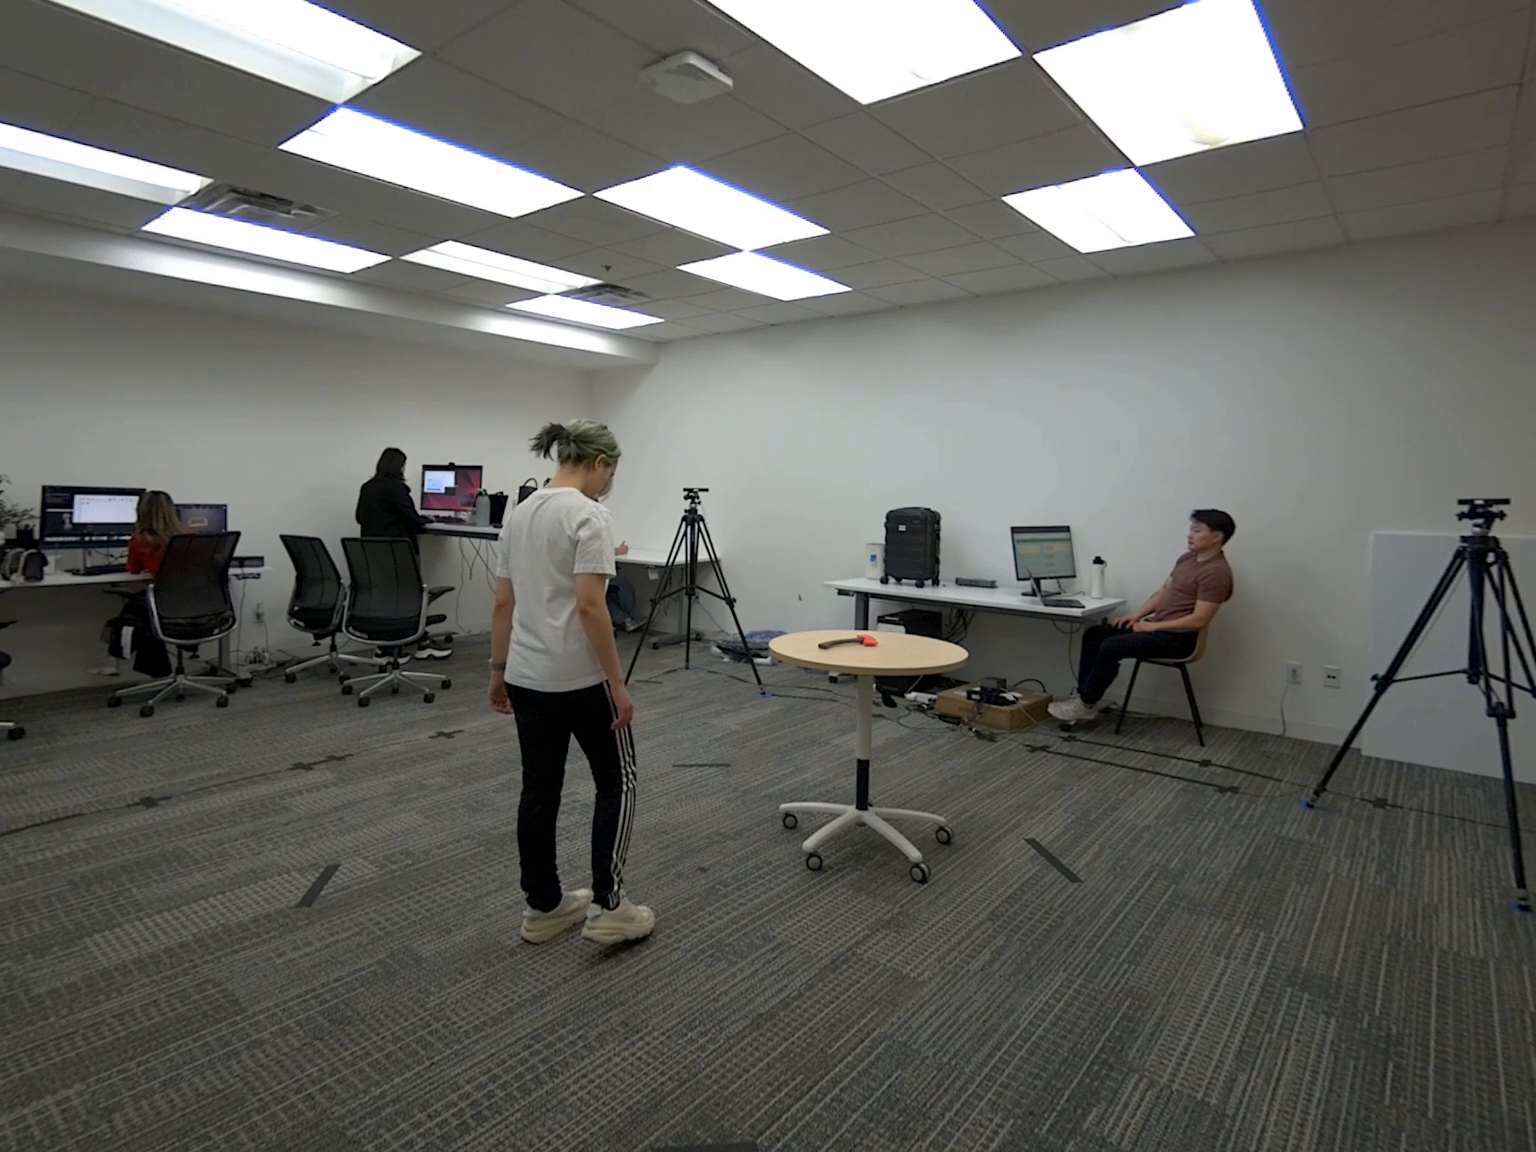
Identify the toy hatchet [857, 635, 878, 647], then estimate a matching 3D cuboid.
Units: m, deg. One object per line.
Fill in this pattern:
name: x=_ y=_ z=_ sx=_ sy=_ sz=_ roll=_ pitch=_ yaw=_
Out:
toy hatchet: x=0.309 y=0.259 z=3.332 sx=0.262 sy=0.029 sz=0.136 roll=-8 pitch=15 yaw=-44
